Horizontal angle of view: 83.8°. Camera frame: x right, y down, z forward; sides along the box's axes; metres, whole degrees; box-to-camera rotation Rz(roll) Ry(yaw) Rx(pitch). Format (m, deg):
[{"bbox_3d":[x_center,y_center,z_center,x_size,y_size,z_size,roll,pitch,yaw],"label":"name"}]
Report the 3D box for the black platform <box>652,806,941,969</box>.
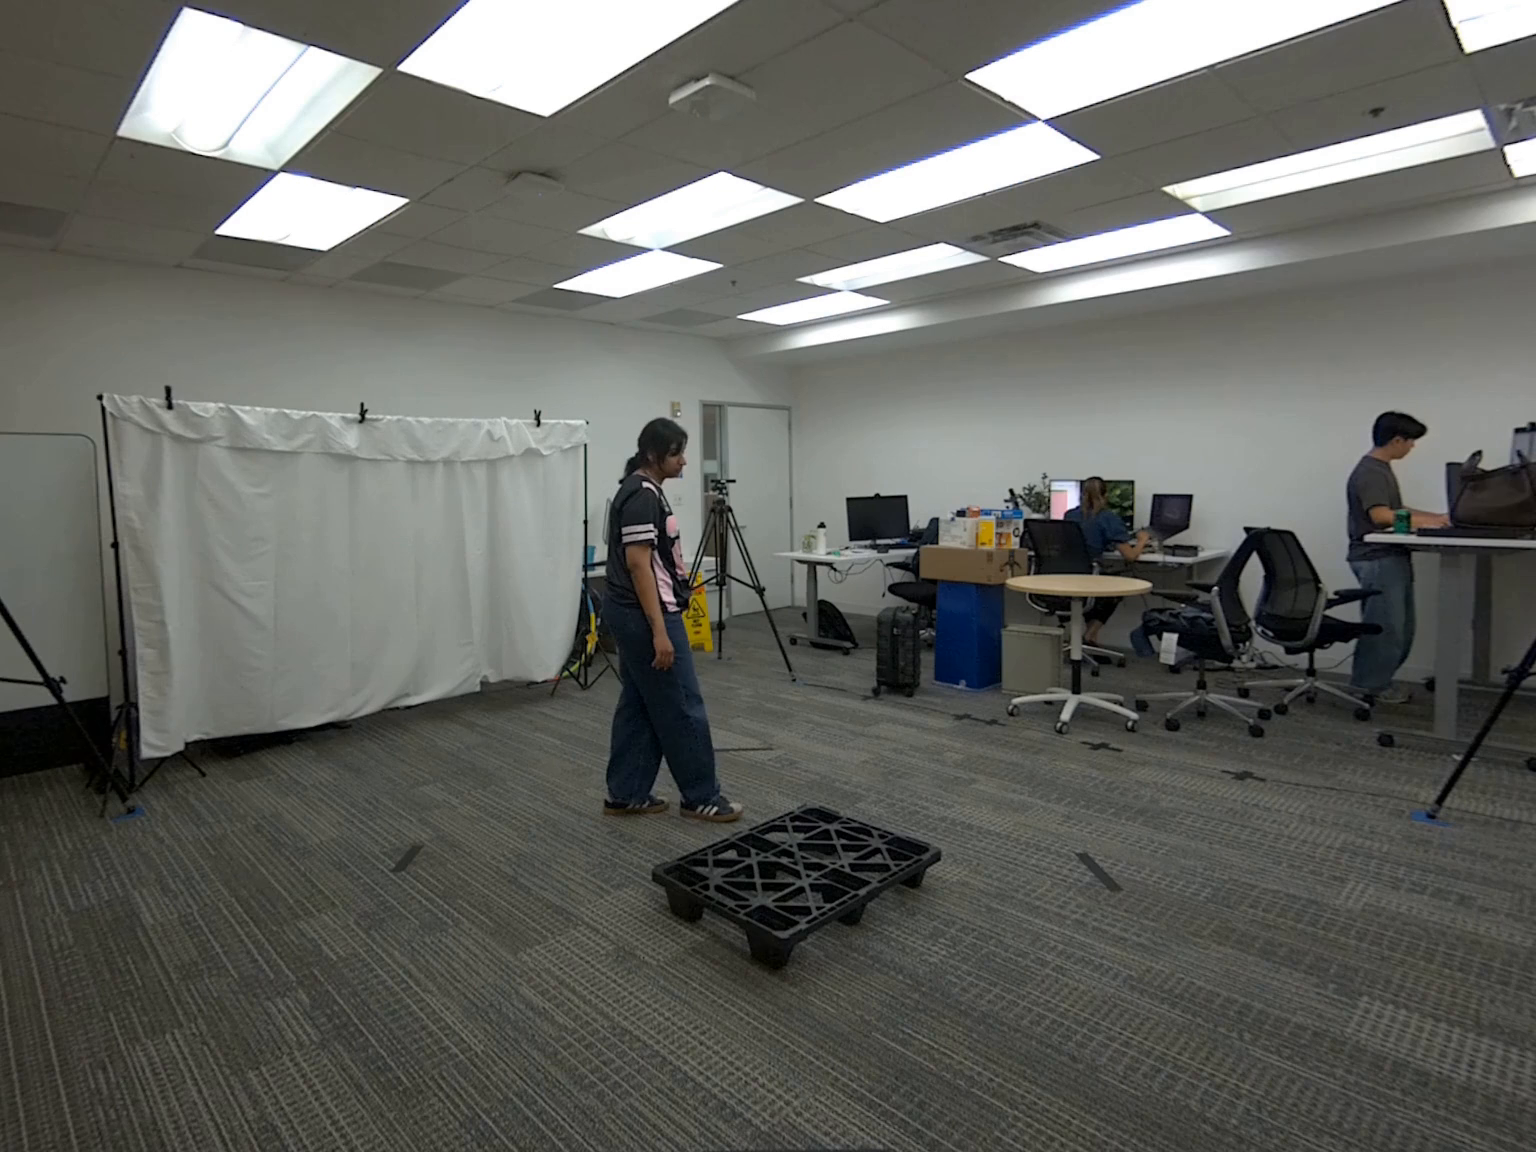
[{"bbox_3d":[0.112,1.008,2.843,0.624,0.142,0.785,6,10,45],"label":"black platform"}]
